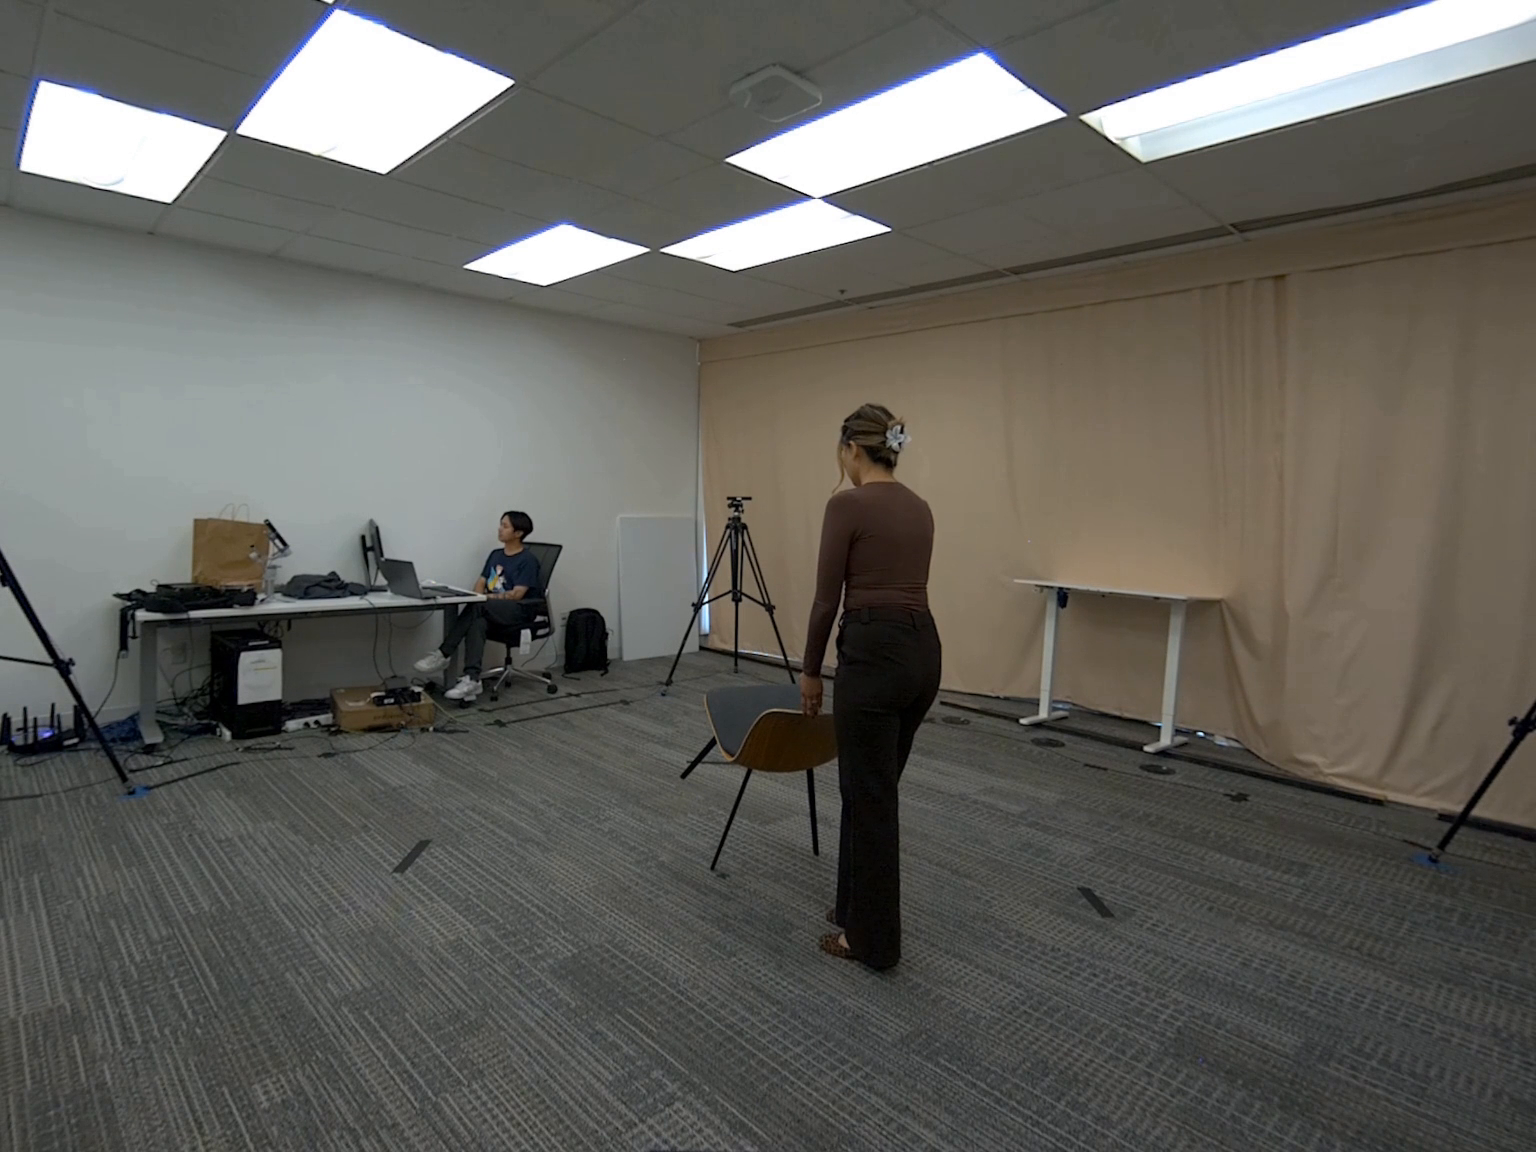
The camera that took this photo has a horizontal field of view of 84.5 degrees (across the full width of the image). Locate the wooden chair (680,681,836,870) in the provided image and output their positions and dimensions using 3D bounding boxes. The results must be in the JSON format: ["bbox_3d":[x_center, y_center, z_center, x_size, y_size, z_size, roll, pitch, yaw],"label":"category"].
[{"bbox_3d":[0.006,0.614,3.178,0.470,0.865,0.539,0,39,-23],"label":"wooden chair"}]
